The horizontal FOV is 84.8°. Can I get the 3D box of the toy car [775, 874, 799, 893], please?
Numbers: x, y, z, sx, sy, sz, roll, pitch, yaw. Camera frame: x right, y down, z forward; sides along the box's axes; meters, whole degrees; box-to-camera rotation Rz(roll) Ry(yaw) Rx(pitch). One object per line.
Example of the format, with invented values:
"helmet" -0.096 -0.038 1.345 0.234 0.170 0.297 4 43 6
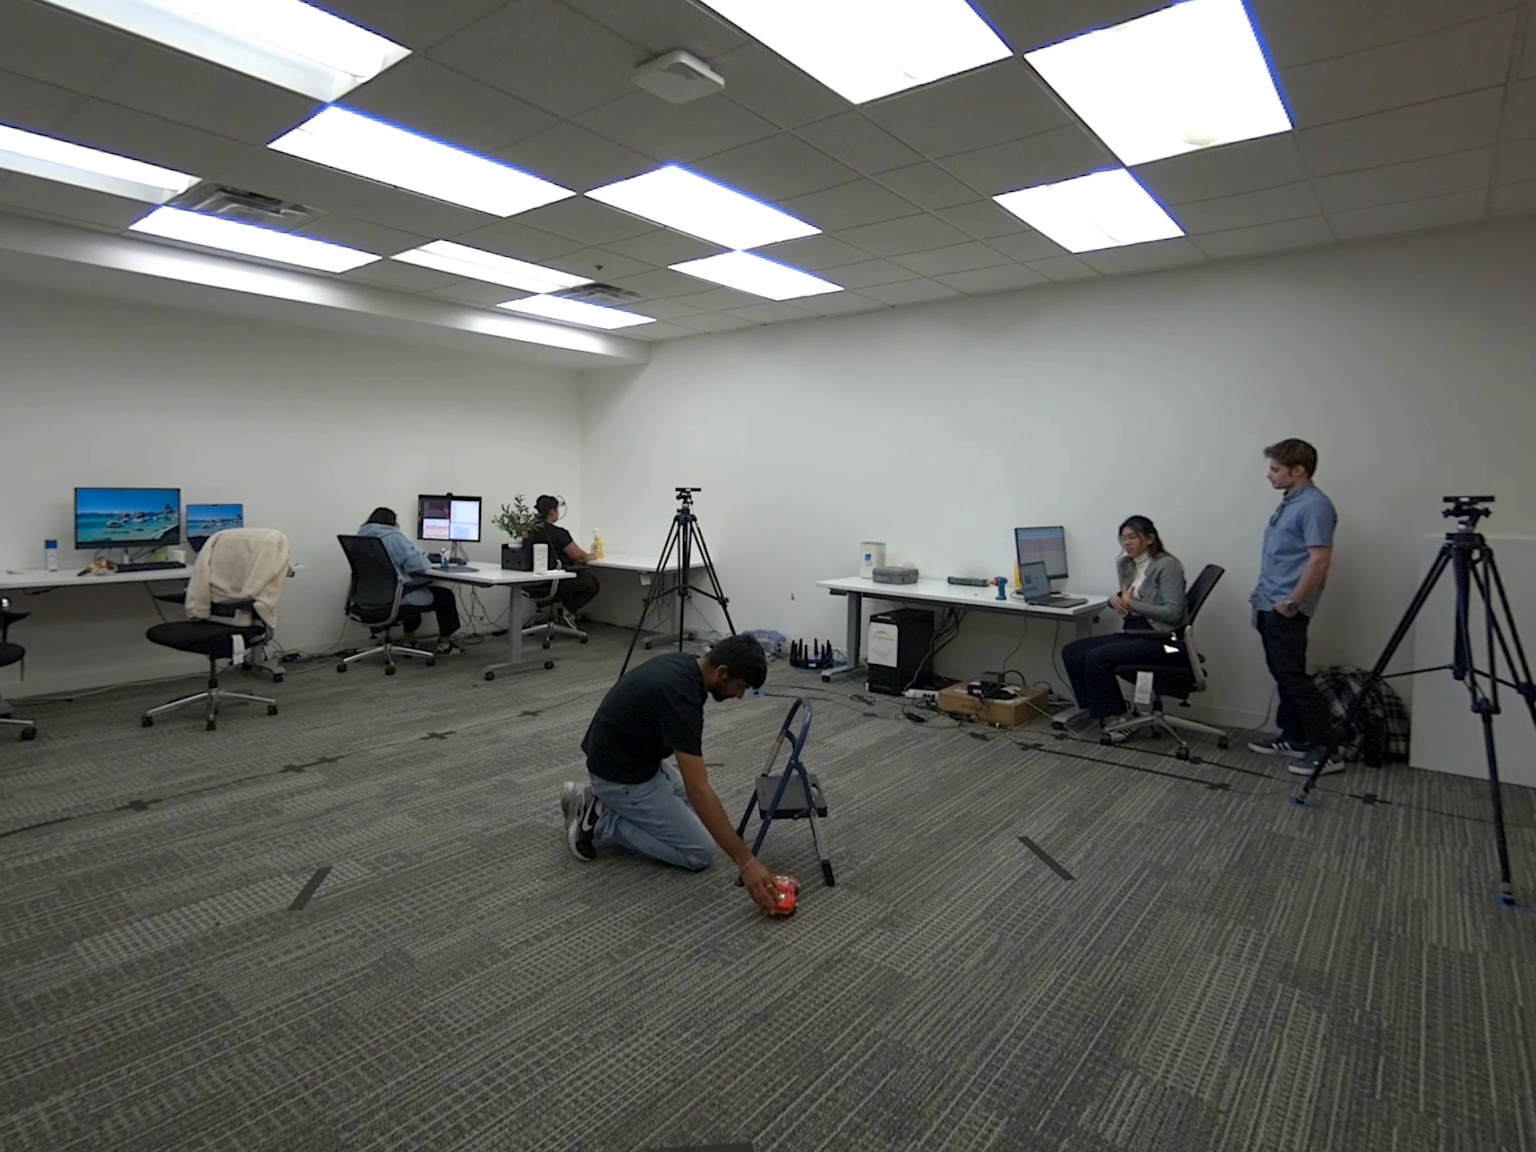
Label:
"toy car" 0.037 1.065 2.858 0.131 0.084 0.251 2 -6 5
